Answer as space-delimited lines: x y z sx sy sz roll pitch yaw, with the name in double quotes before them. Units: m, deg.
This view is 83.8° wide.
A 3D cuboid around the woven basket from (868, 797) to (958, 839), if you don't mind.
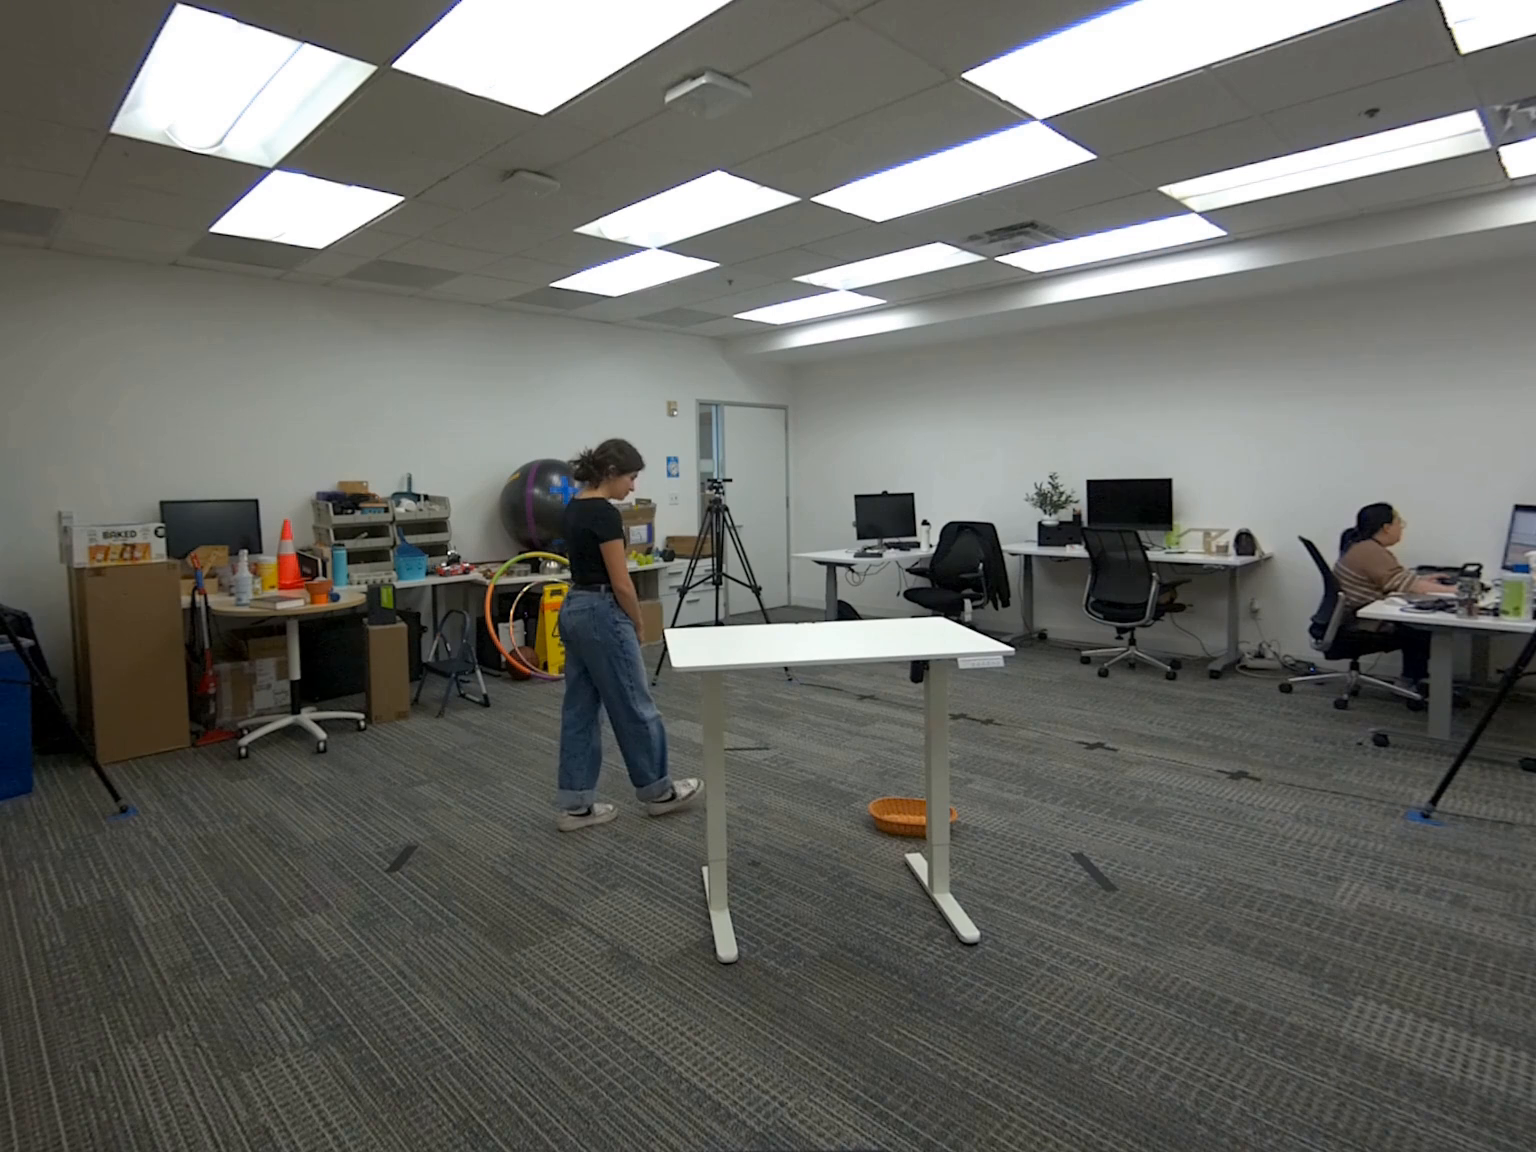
"woven basket" 0.573 0.964 3.395 0.356 0.073 0.250 1 8 15
